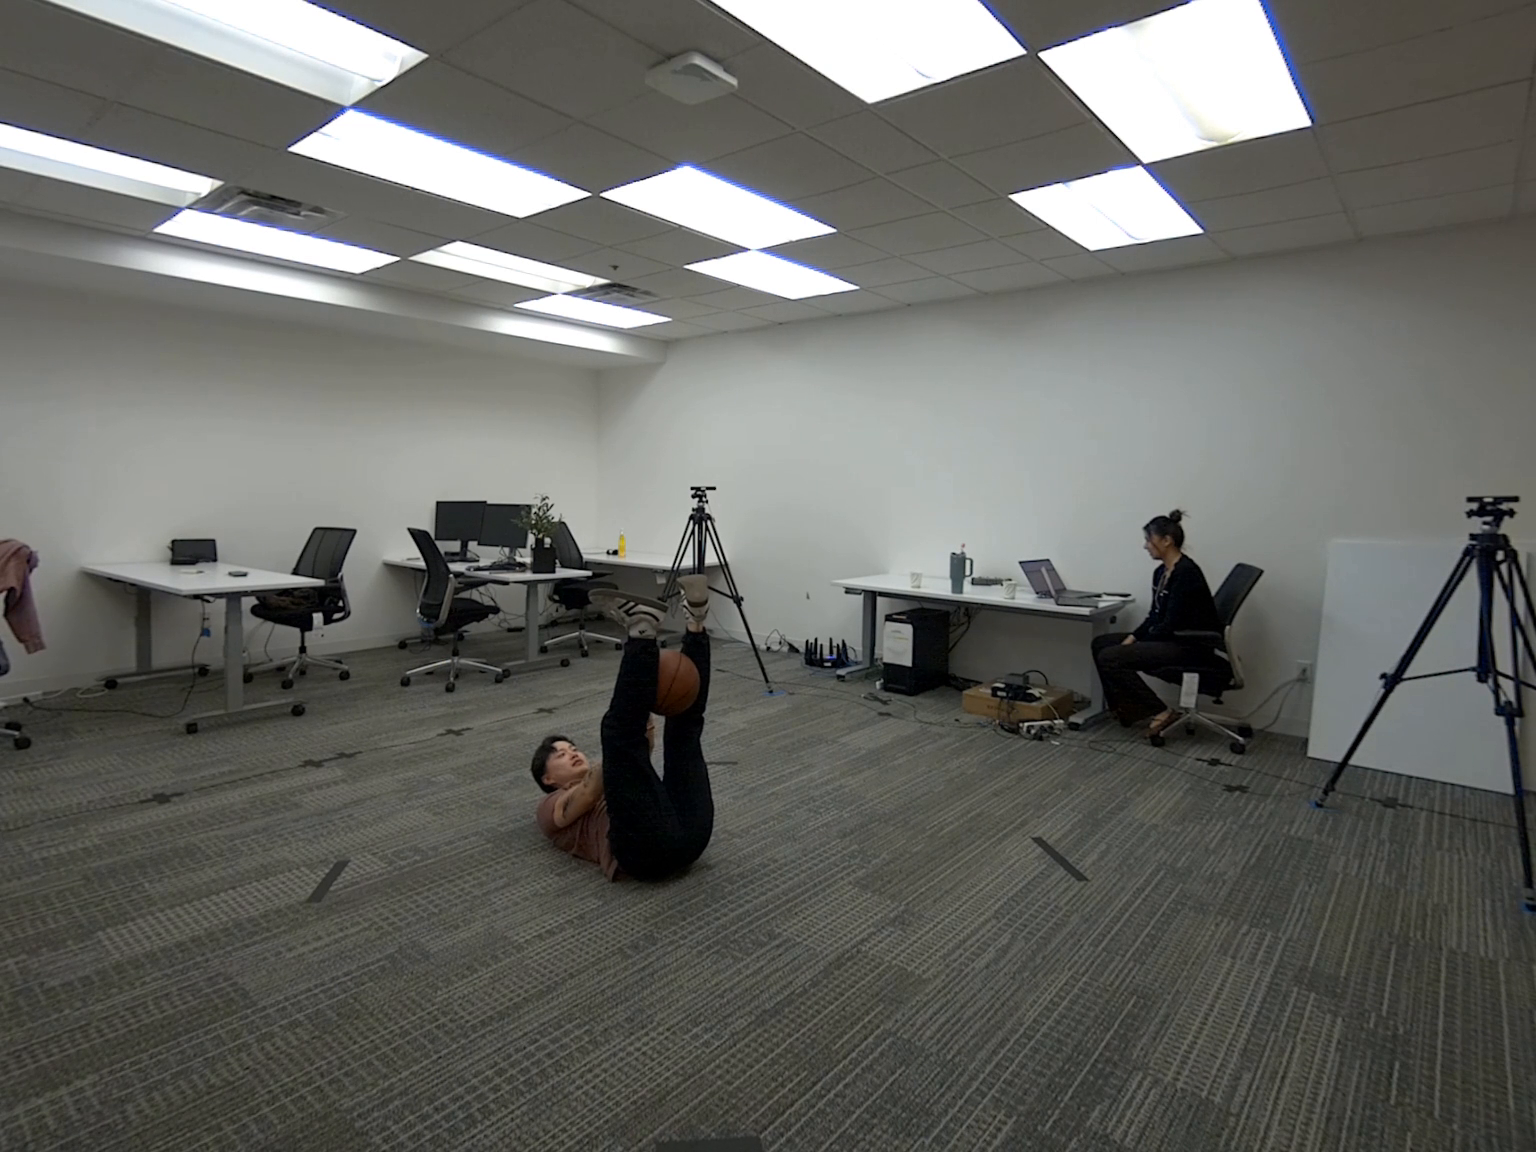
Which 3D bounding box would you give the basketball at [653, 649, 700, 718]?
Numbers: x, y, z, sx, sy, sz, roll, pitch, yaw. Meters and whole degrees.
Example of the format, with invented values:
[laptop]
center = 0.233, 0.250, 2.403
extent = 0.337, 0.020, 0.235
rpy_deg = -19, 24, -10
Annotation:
[basketball]
center = -0.372, 0.382, 3.049
extent = 0.235, 0.235, 0.237
rpy_deg = 1, 5, -2
